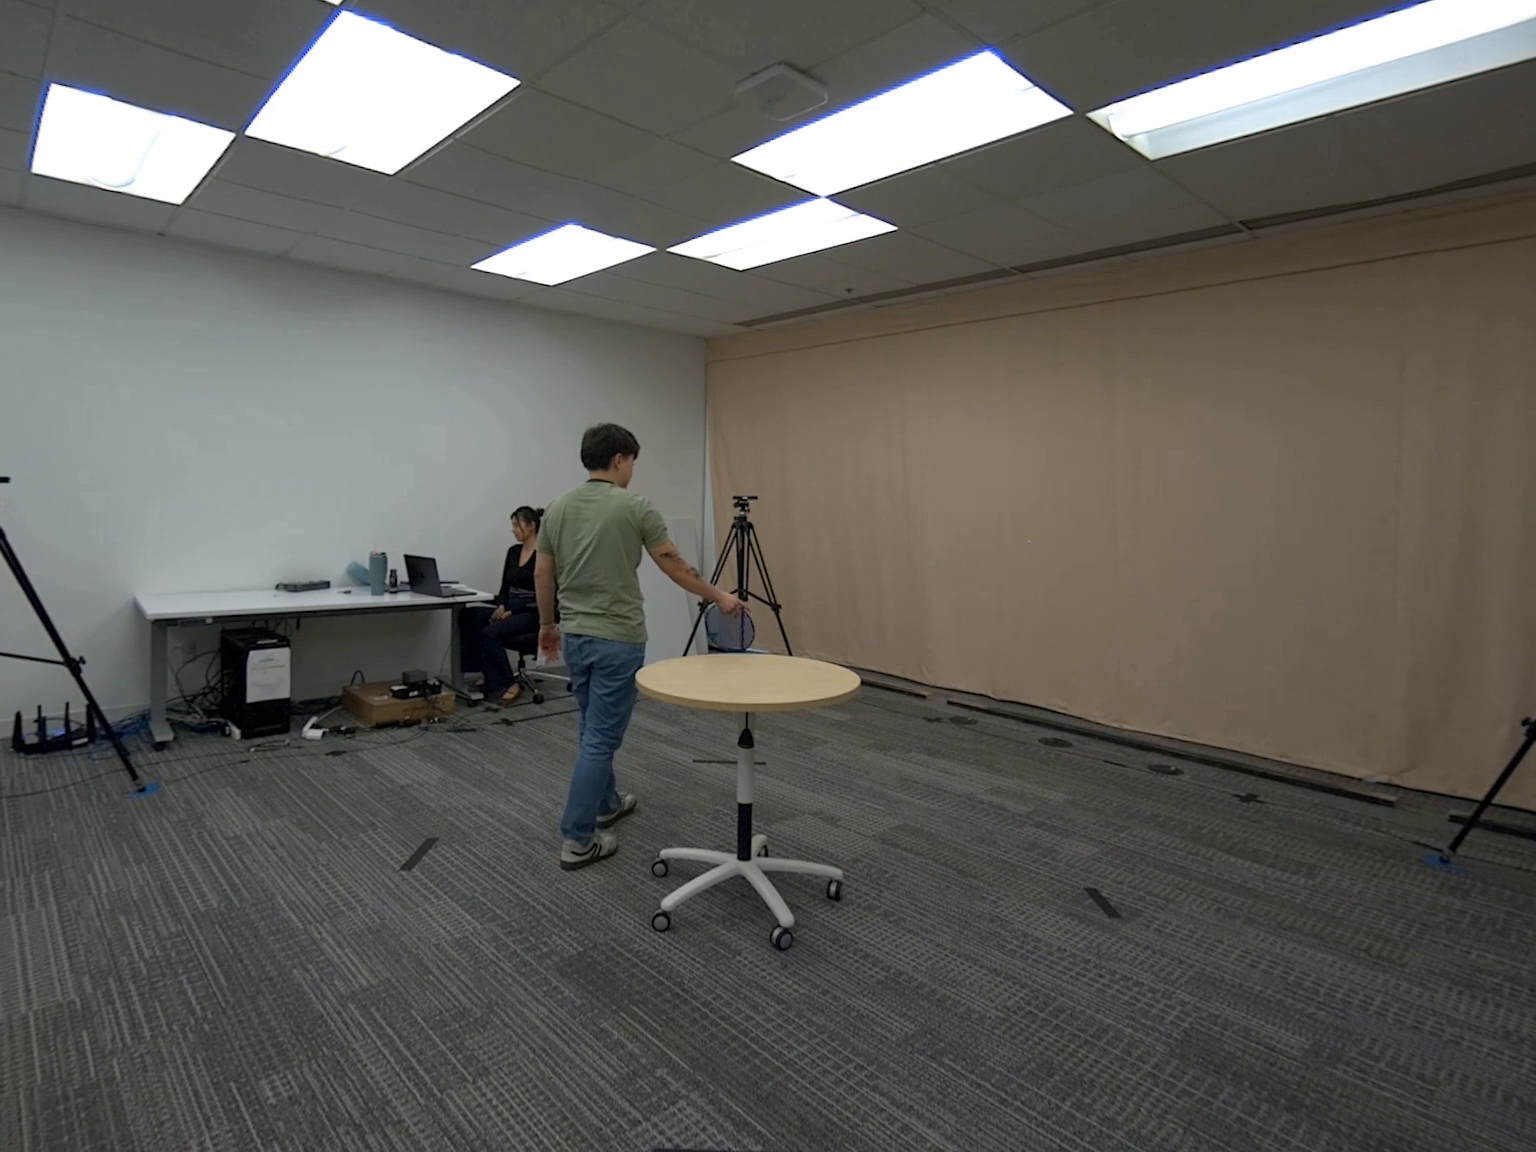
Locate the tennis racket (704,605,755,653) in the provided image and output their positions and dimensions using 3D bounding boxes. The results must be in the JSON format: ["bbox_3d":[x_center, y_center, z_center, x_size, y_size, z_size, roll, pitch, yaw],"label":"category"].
[{"bbox_3d":[-0.159,0.280,3.605,0.215,0.423,0.032,-9,27,9],"label":"tennis racket"}]
